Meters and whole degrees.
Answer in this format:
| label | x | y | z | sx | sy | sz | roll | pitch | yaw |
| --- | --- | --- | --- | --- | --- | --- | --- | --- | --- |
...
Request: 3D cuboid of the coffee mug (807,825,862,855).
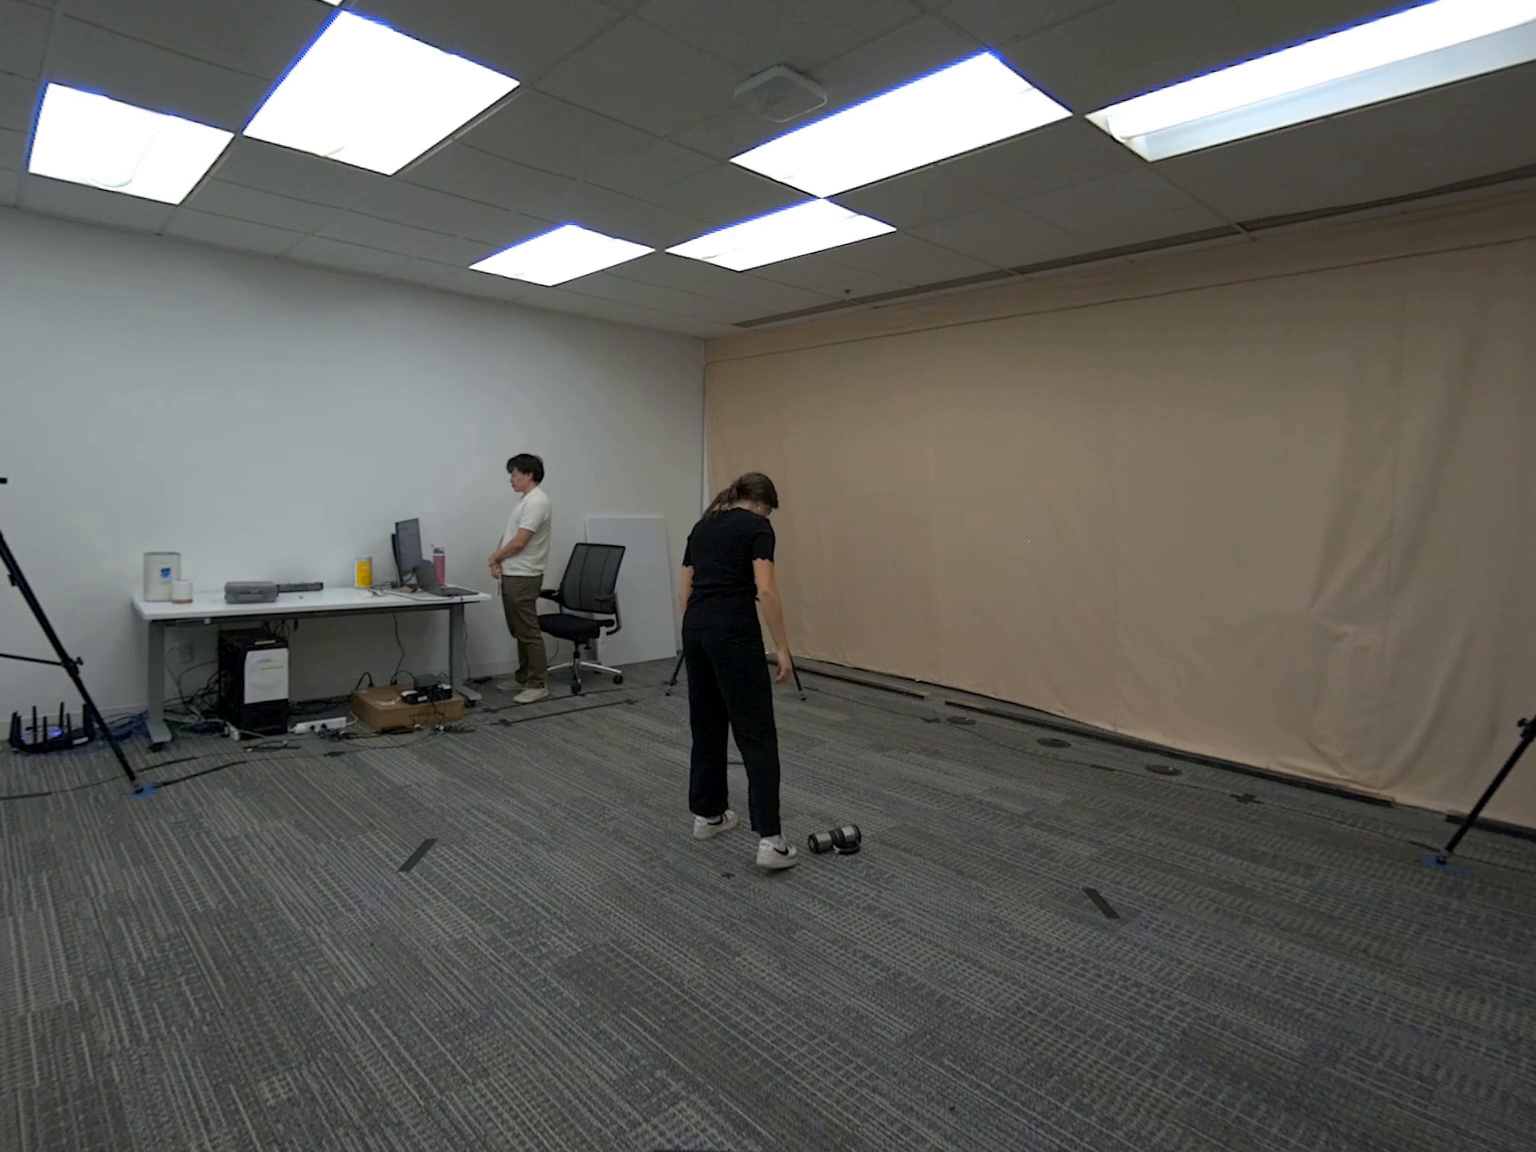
| label | x | y | z | sx | sy | sz | roll | pitch | yaw |
| --- | --- | --- | --- | --- | --- | --- | --- | --- | --- |
| coffee mug | 0.263 | 1.049 | 3.342 | 0.199 | 0.088 | 0.124 | -1 | -6 | -27 |
